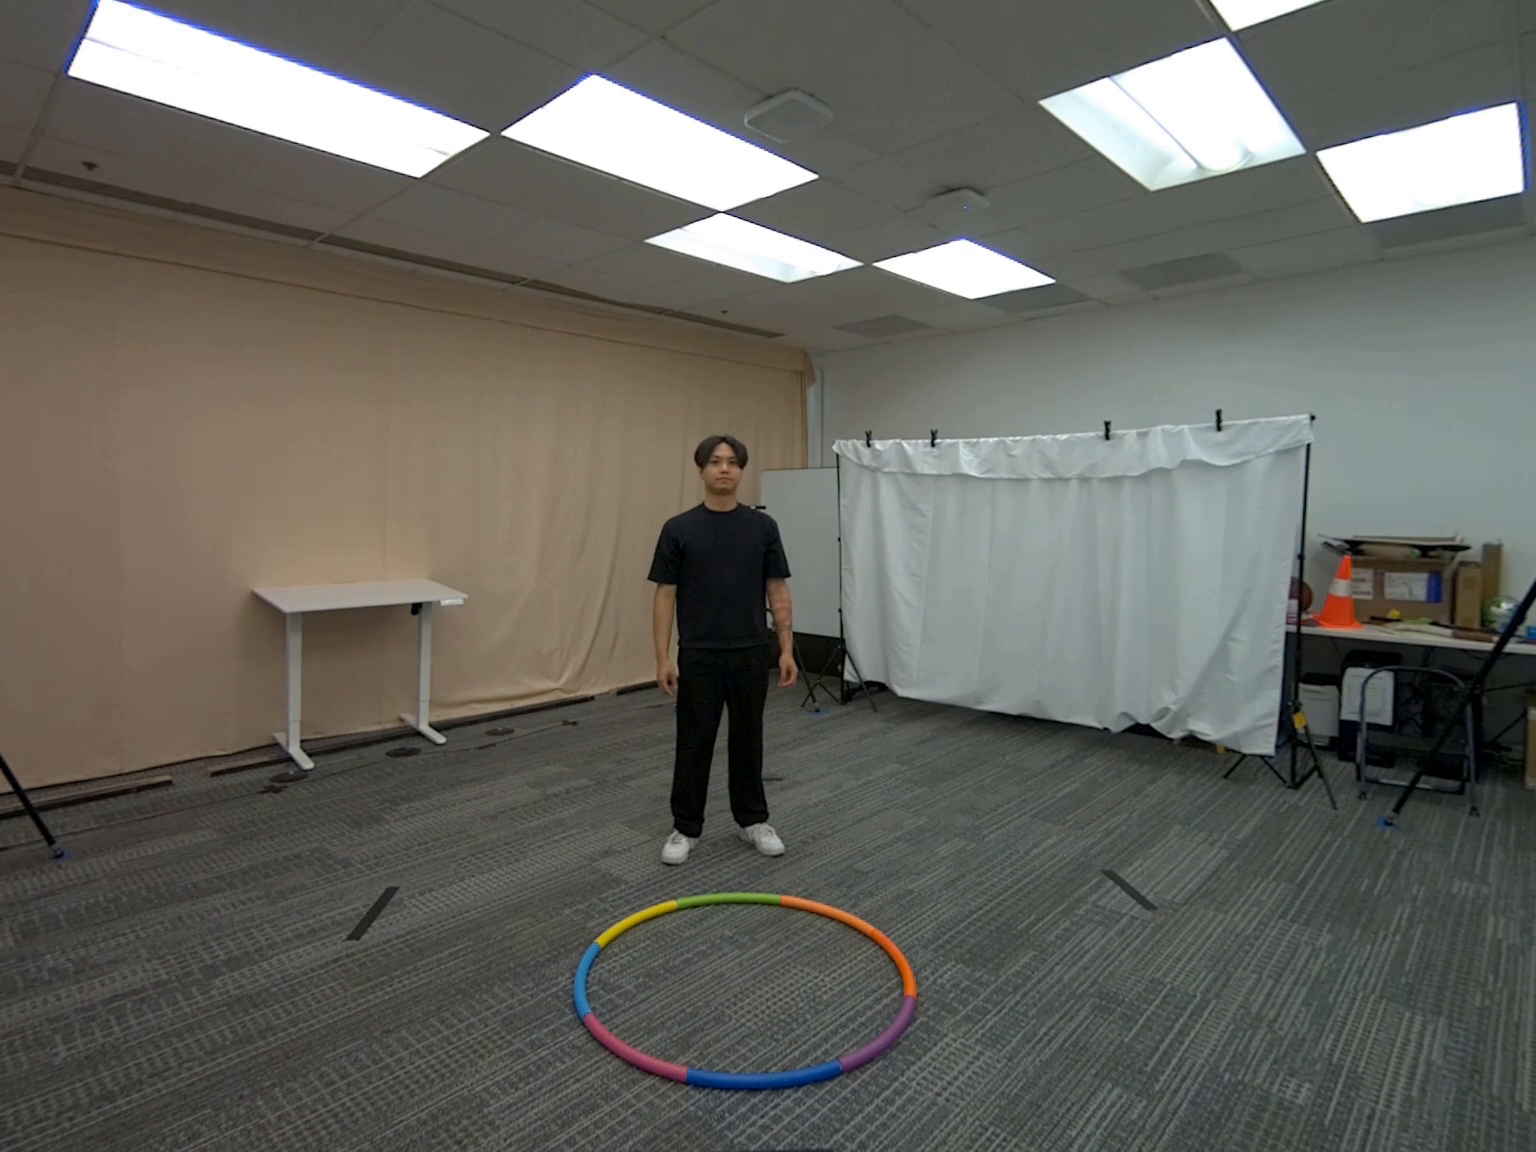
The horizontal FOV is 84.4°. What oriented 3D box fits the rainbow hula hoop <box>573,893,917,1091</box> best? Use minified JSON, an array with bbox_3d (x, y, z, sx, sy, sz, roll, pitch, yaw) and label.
[{"bbox_3d":[-0.066,1.154,2.491,0.978,0.035,0.982,0,5,-2],"label":"rainbow hula hoop"}]
